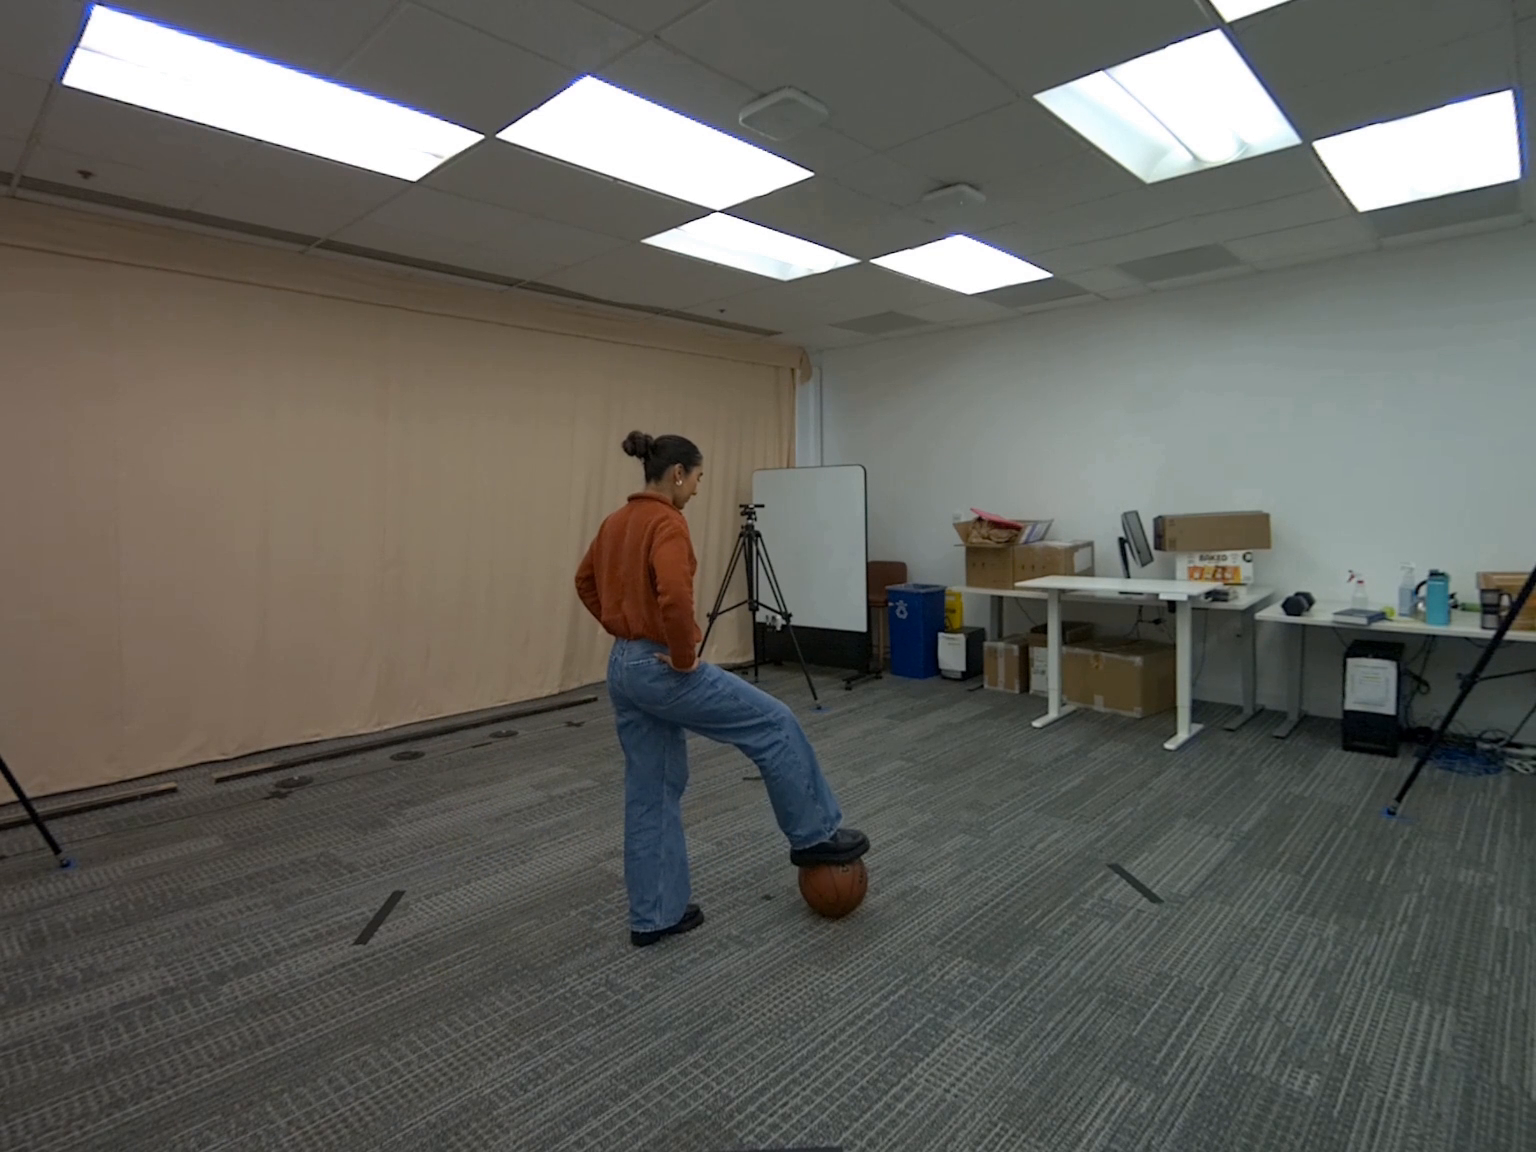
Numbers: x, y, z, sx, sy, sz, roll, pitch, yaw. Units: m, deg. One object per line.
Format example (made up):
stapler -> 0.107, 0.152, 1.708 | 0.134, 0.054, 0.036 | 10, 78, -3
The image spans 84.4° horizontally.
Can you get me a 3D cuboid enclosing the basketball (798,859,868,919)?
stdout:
basketball -> 0.218, 1.026, 2.863 | 0.236, 0.235, 0.237 | -1, 4, -2
